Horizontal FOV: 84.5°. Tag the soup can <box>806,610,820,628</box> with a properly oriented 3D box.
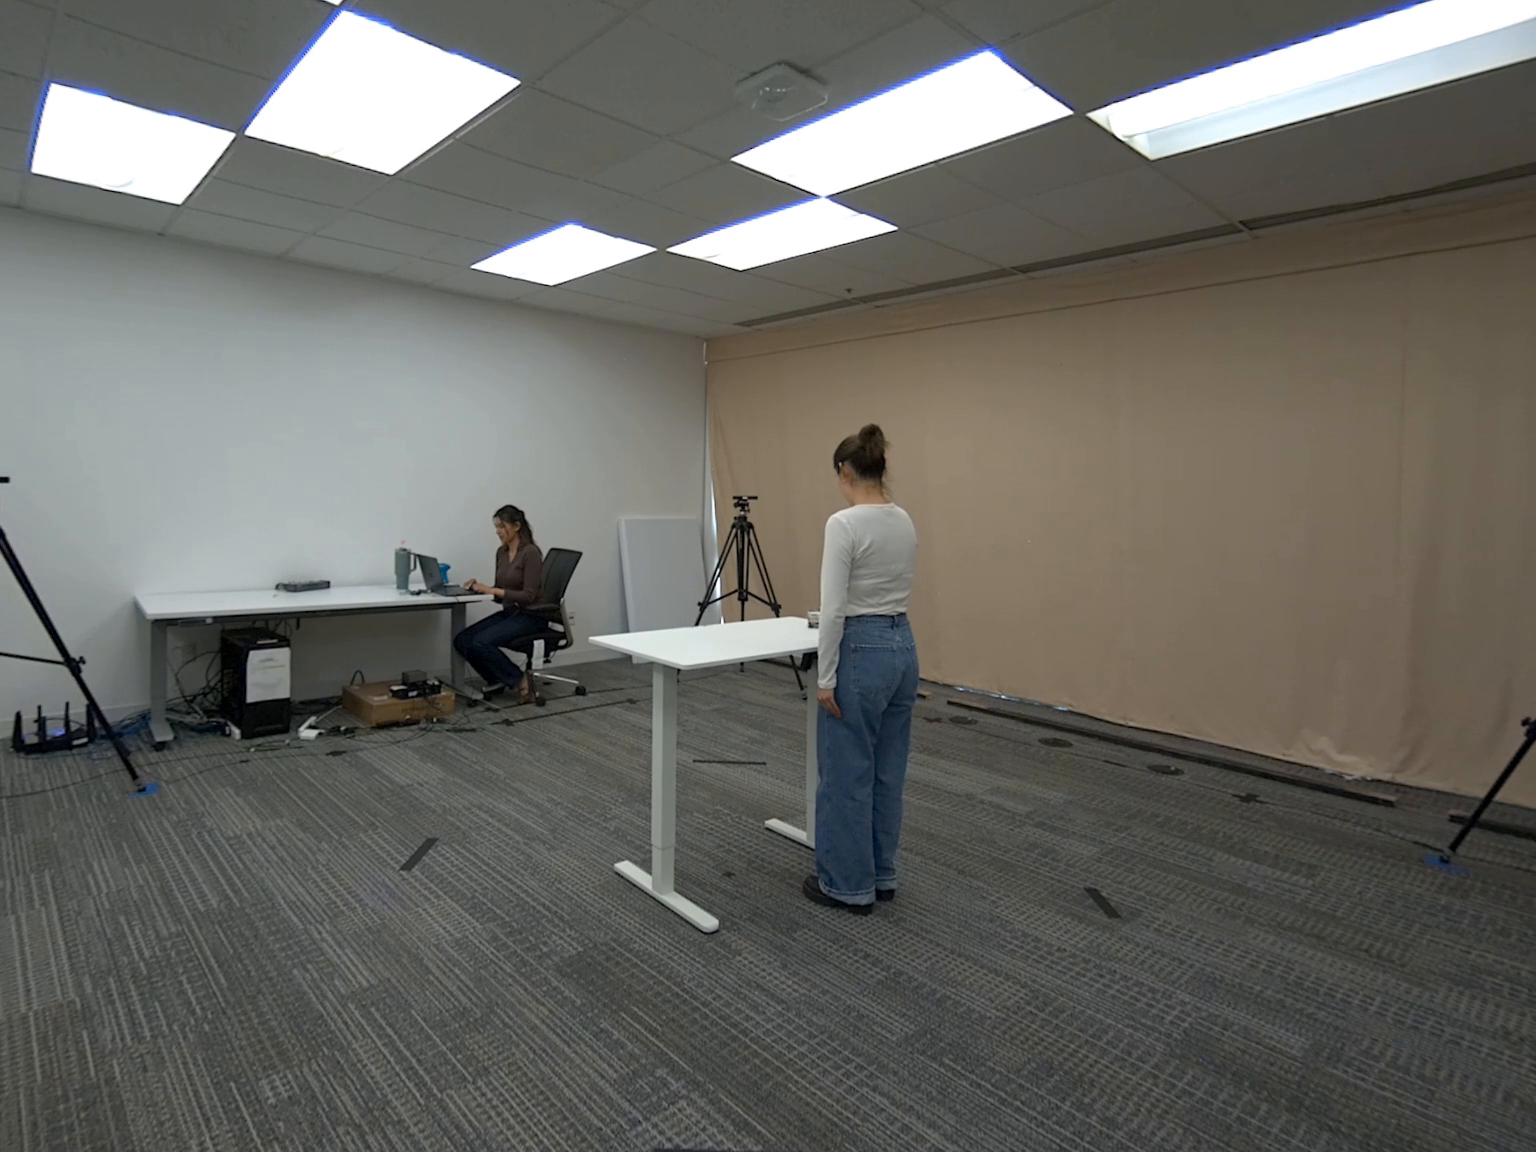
[{"bbox_3d":[0.181,0.172,3.336,0.067,0.067,0.121,2,5,4],"label":"soup can"}]
